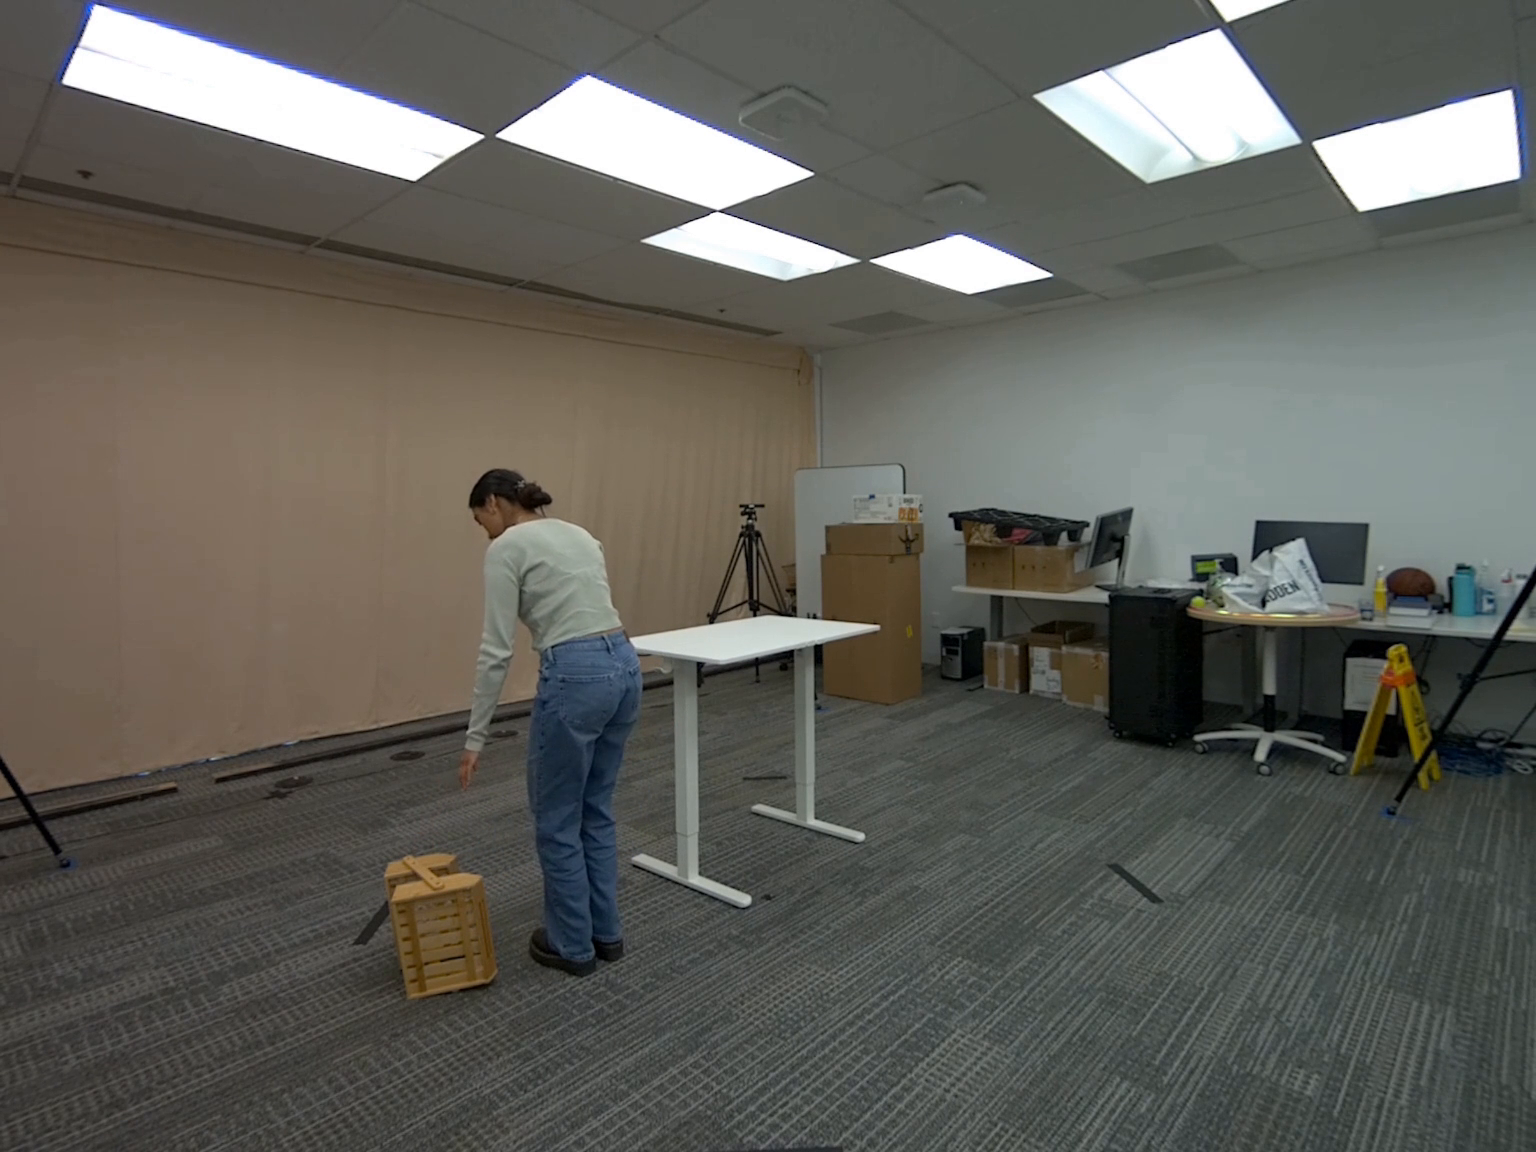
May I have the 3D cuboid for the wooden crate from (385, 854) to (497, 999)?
[{"bbox_3d":[-0.991,1.039,2.526,0.298,0.323,0.279,-8,8,-15],"label":"wooden crate"}]
